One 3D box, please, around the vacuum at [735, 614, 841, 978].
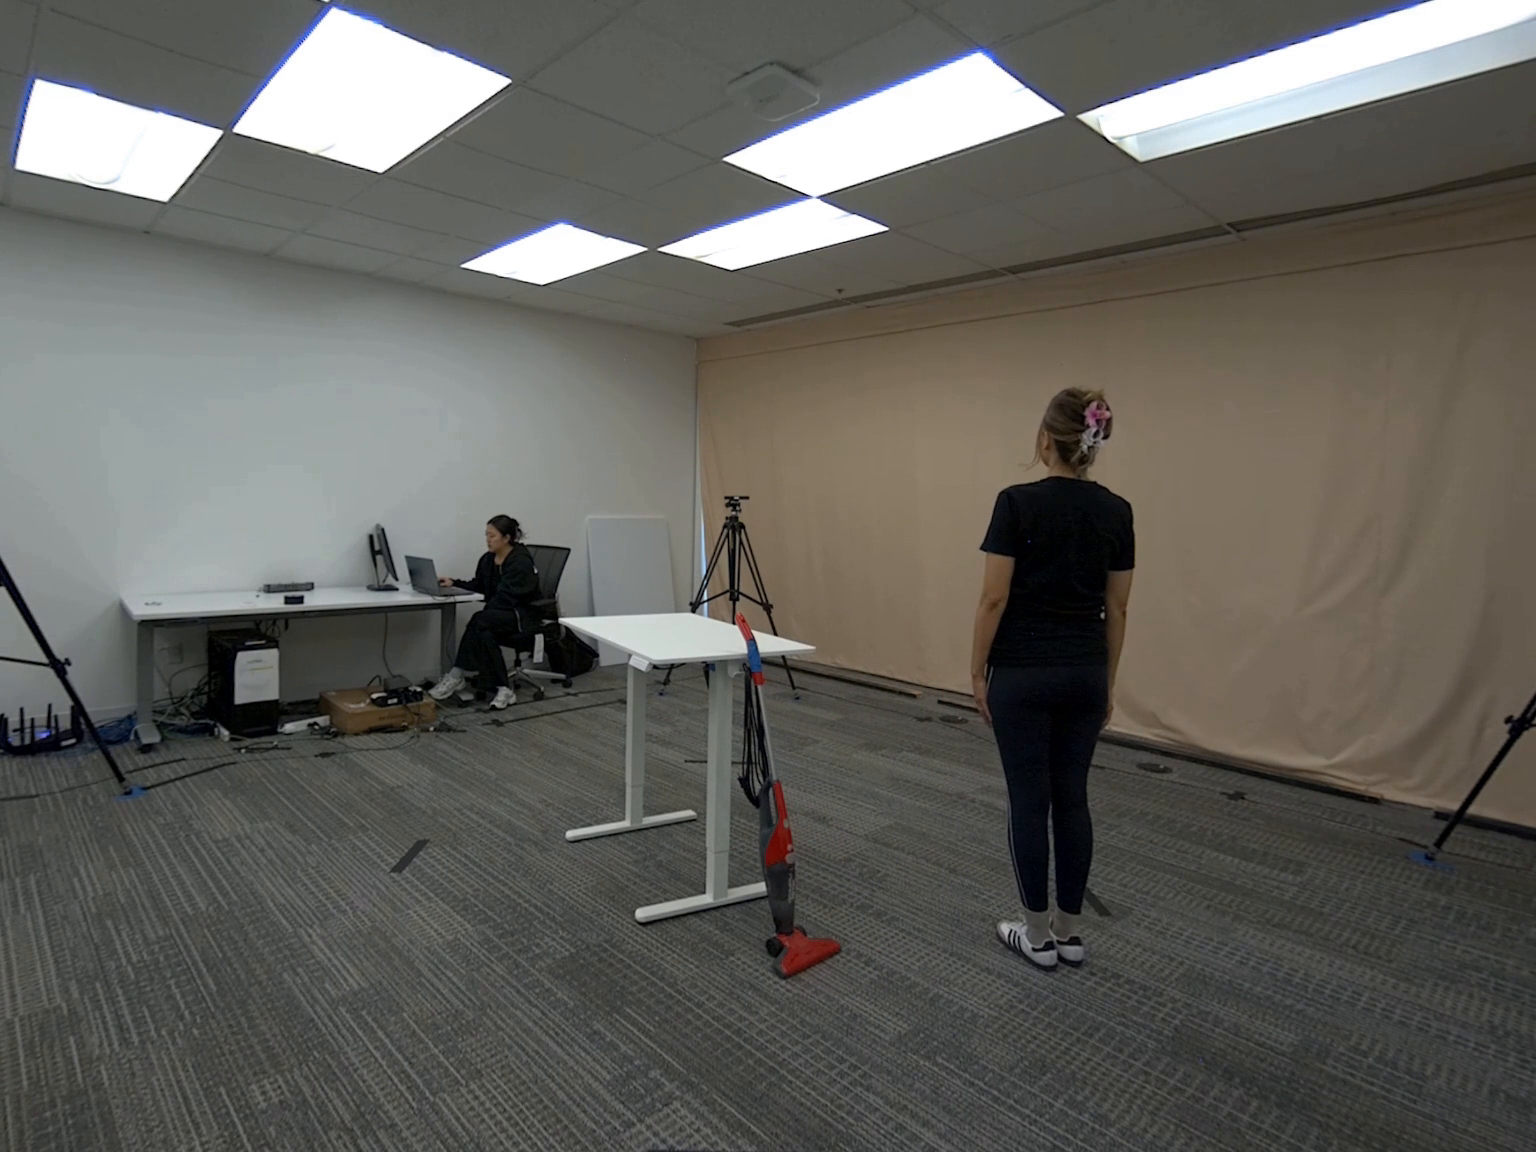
[{"bbox_3d":[-0.004,0.654,2.667,0.246,1.060,0.146,1,-17,-46],"label":"vacuum"}]
